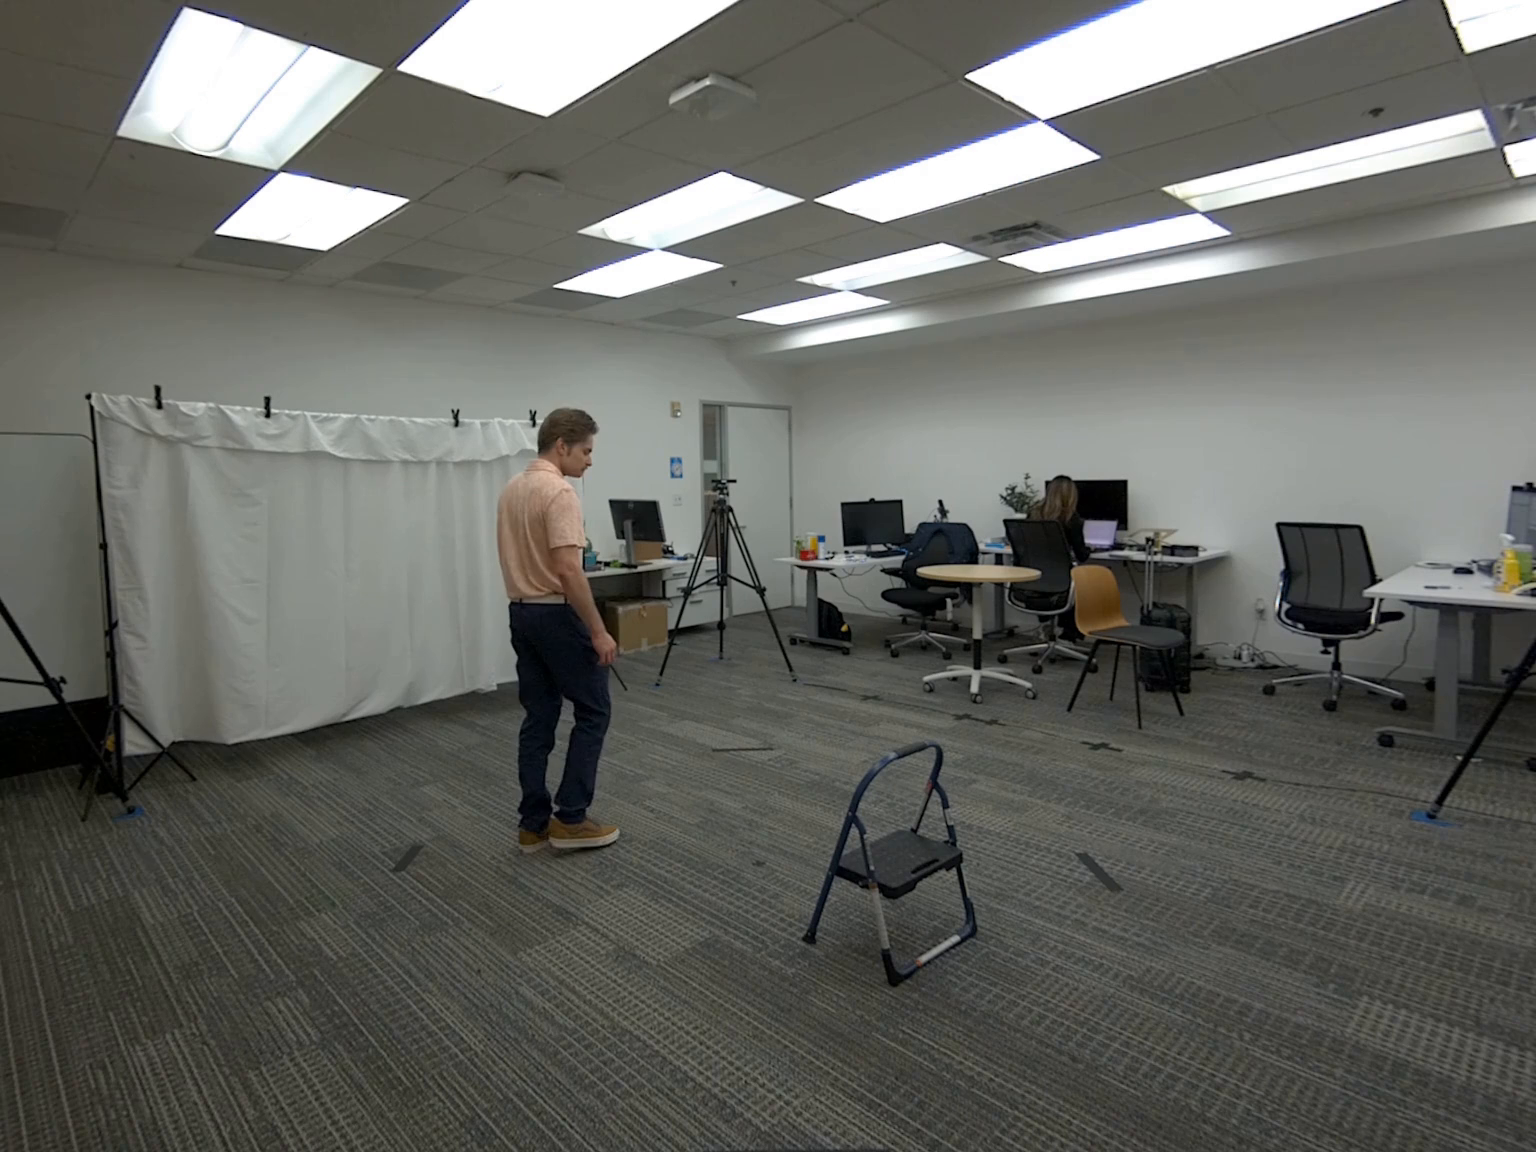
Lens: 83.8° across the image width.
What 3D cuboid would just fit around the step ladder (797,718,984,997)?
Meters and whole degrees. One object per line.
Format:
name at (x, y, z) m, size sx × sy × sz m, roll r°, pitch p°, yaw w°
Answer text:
step ladder at (0.373, 0.804, 2.581) m, size 0.419 × 0.603 × 0.360 m, roll -7°, pitch 7°, yaw -44°
